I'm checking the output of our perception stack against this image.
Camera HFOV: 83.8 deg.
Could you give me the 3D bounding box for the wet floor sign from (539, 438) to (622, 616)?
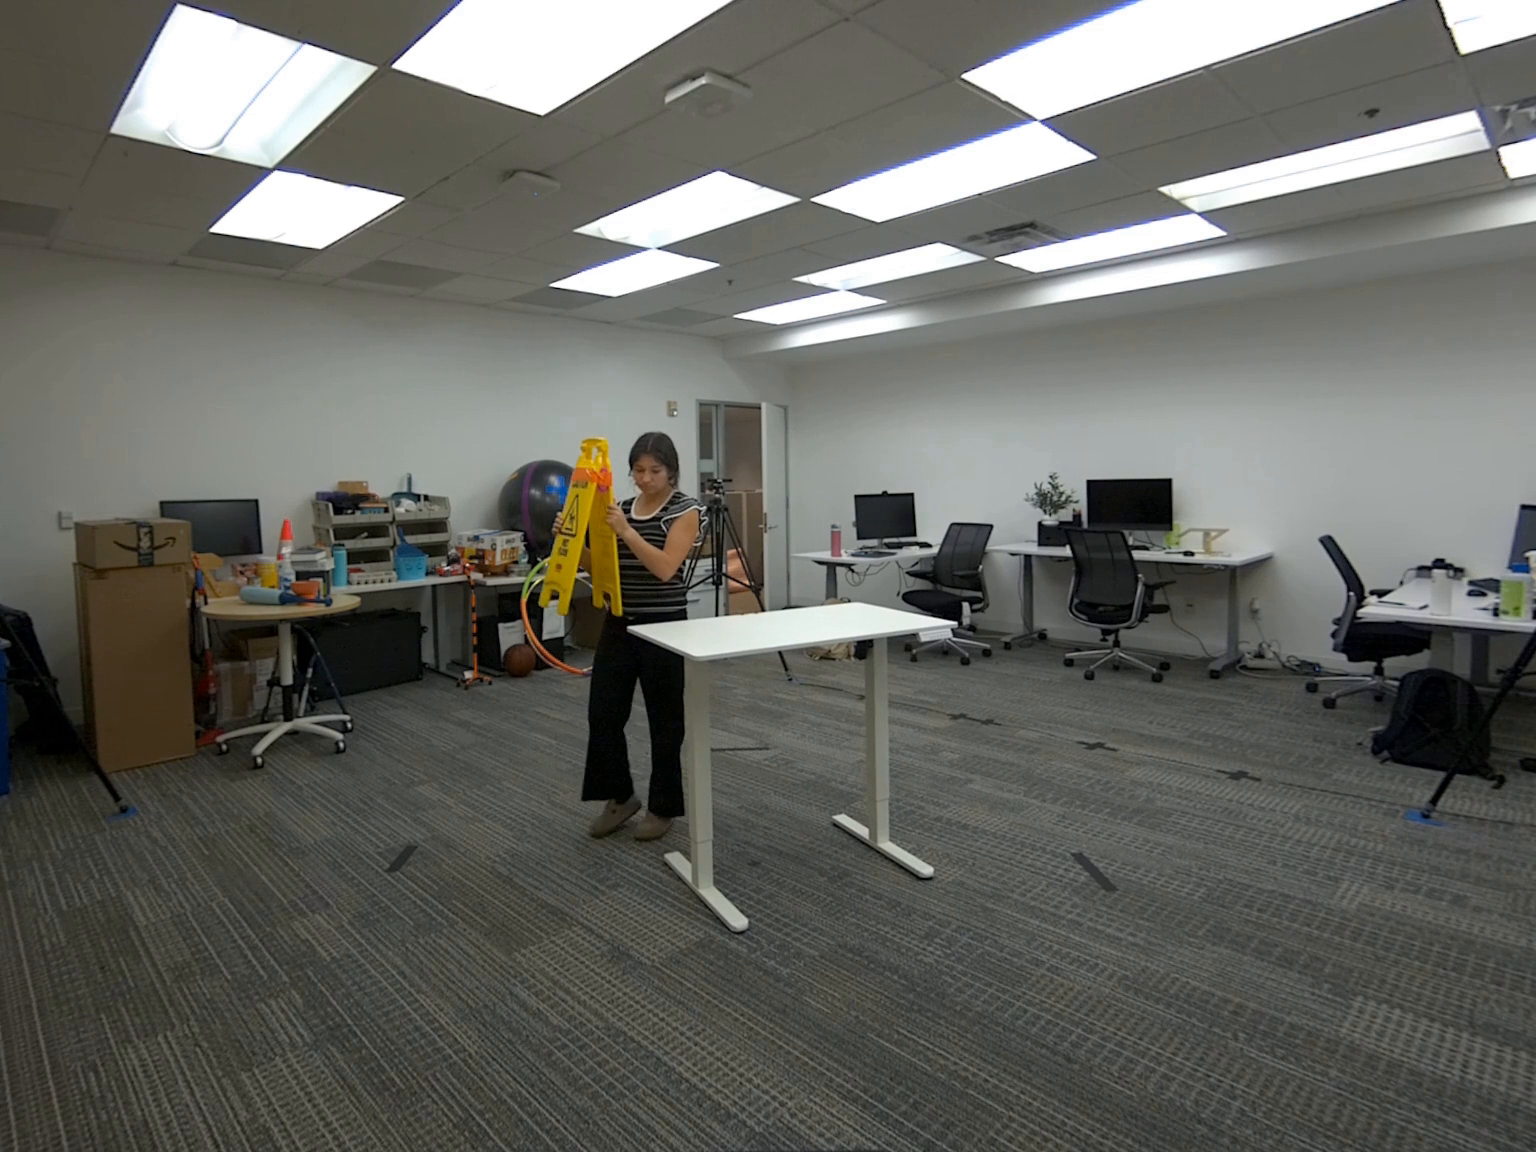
[{"bbox_3d":[-0.673,-0.190,3.215,0.282,0.644,0.291,3,4,-34],"label":"wet floor sign"}]
